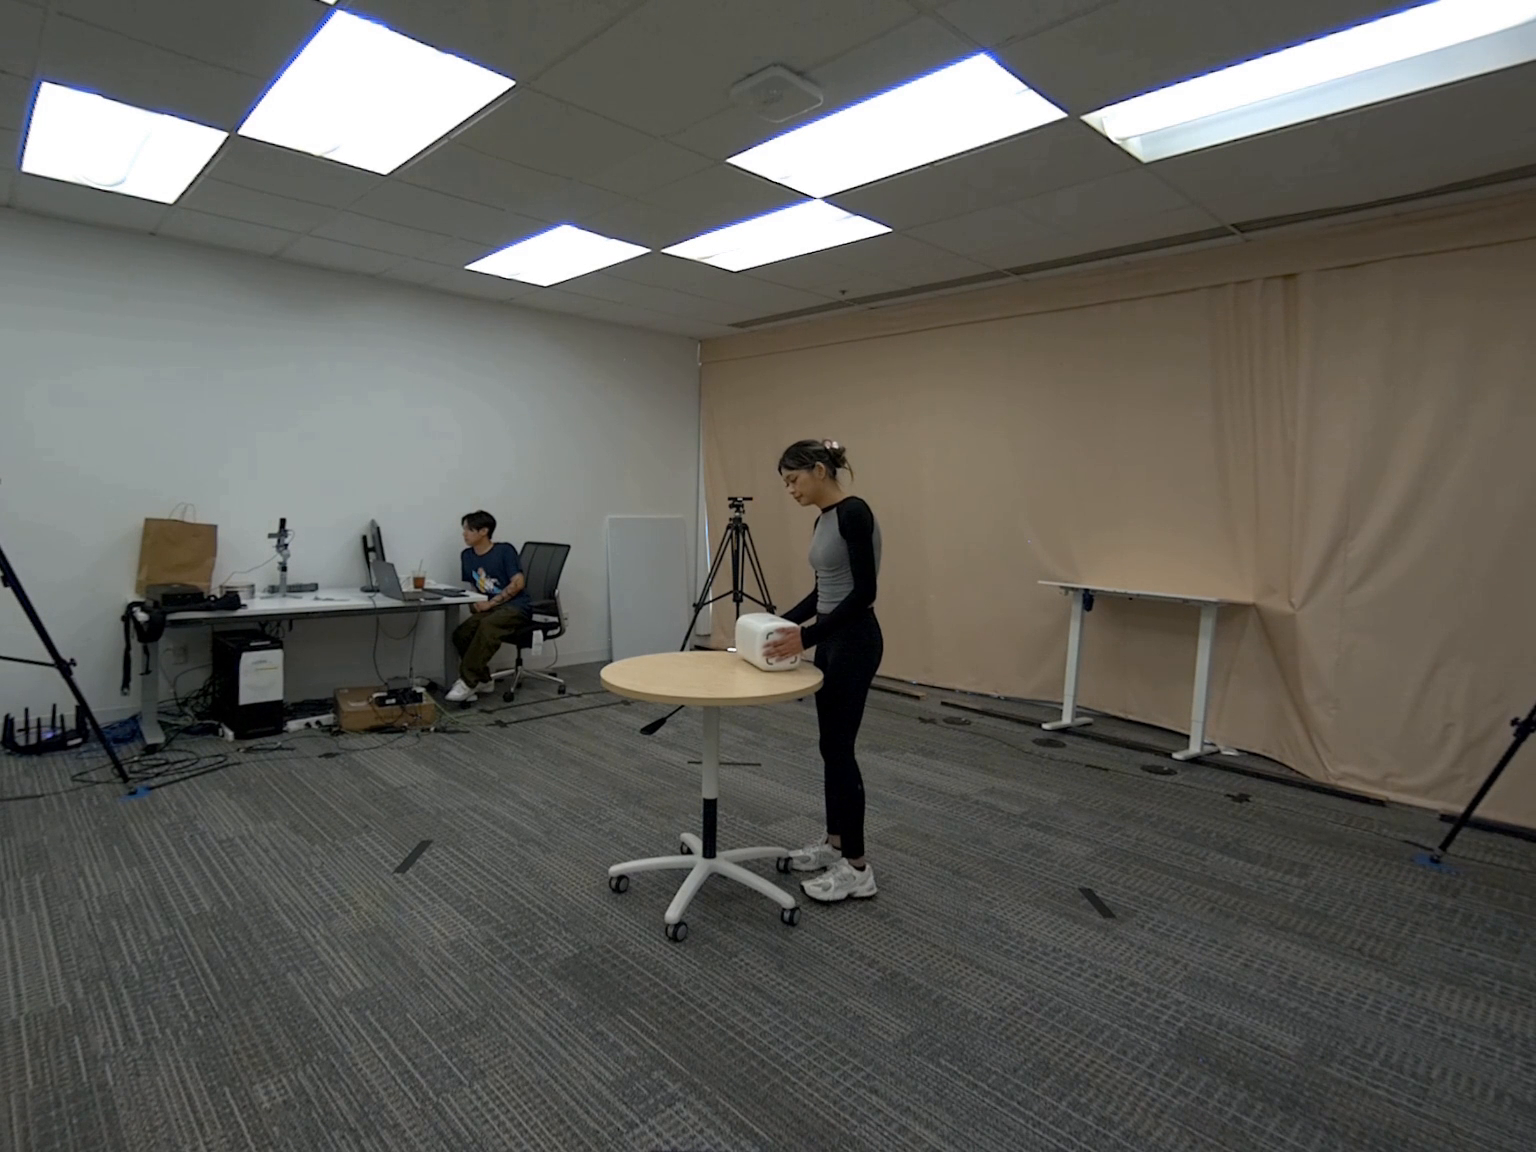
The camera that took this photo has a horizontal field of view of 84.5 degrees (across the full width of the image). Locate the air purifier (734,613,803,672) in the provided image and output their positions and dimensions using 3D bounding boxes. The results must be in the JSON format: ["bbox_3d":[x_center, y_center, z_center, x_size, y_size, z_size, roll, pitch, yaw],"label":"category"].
[{"bbox_3d":[-0.005,0.236,3.017,0.168,0.171,0.270,1,5,-20],"label":"air purifier"}]
